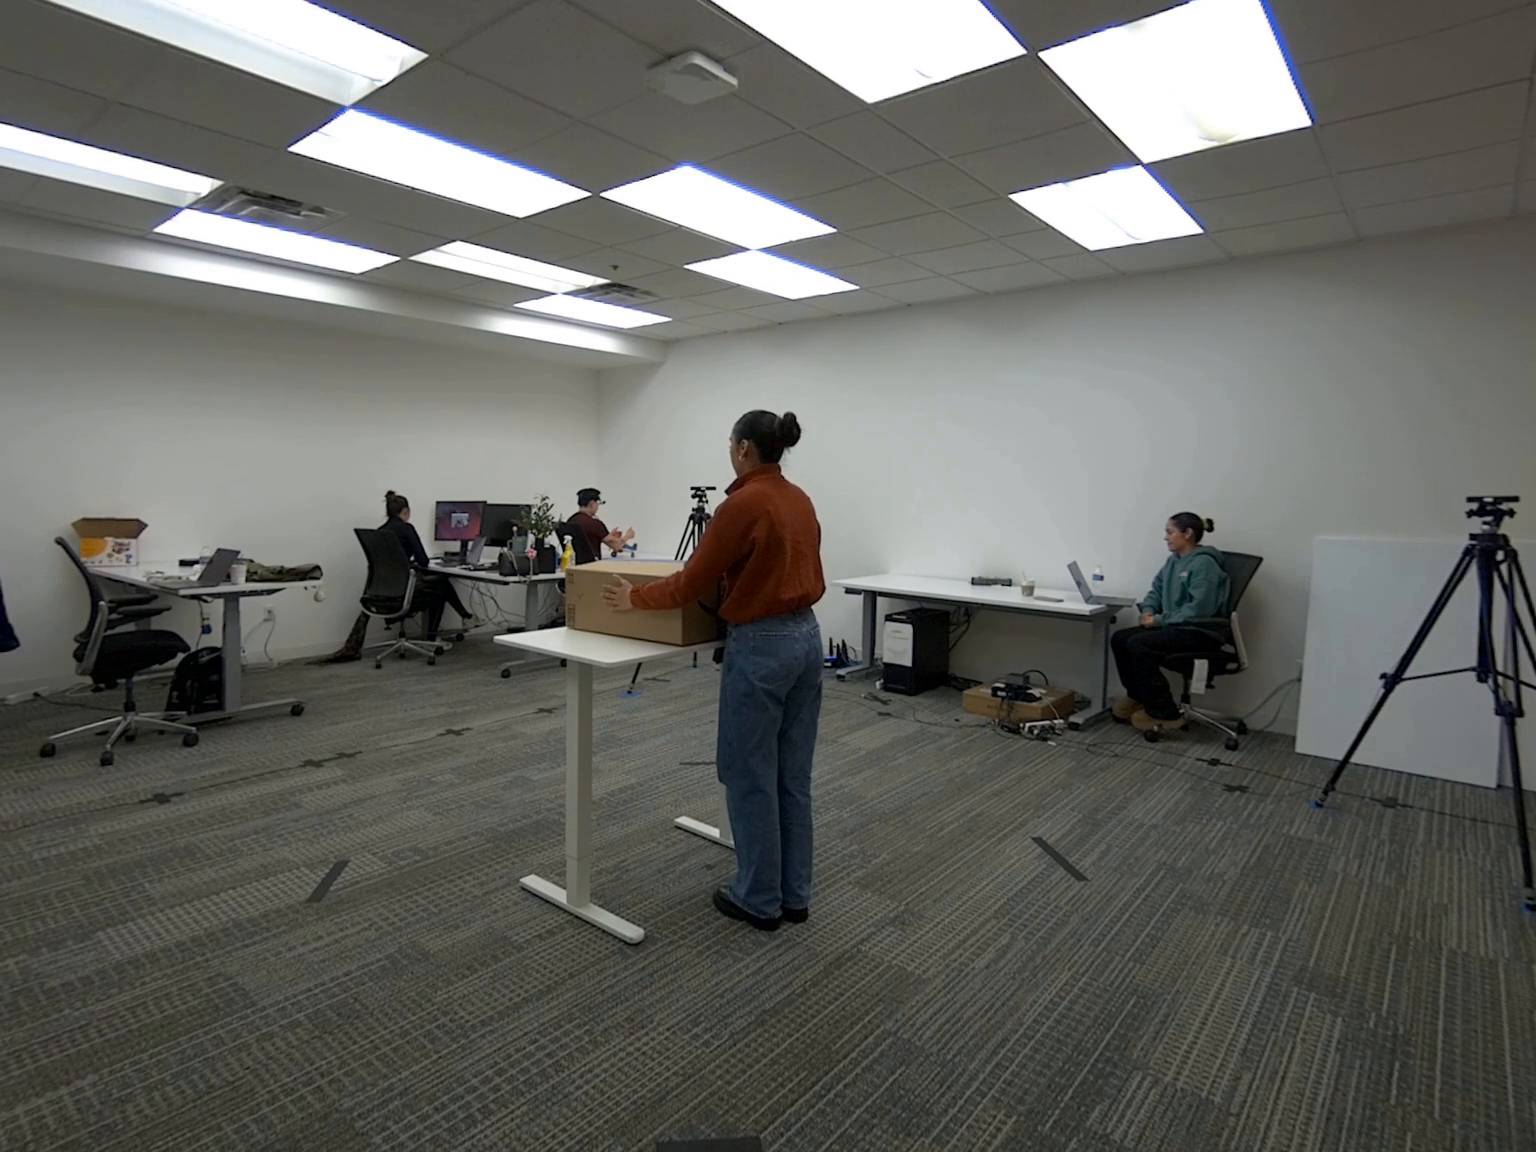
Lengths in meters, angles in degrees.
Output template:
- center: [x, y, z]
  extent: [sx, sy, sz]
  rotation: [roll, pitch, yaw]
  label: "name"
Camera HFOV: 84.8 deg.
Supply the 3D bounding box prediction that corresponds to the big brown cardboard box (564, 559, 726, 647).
- center: [-0.377, 0.075, 3.002]
  extent: [0.608, 0.232, 0.405]
  rotation: [3, 6, 39]
  label: "big brown cardboard box"
